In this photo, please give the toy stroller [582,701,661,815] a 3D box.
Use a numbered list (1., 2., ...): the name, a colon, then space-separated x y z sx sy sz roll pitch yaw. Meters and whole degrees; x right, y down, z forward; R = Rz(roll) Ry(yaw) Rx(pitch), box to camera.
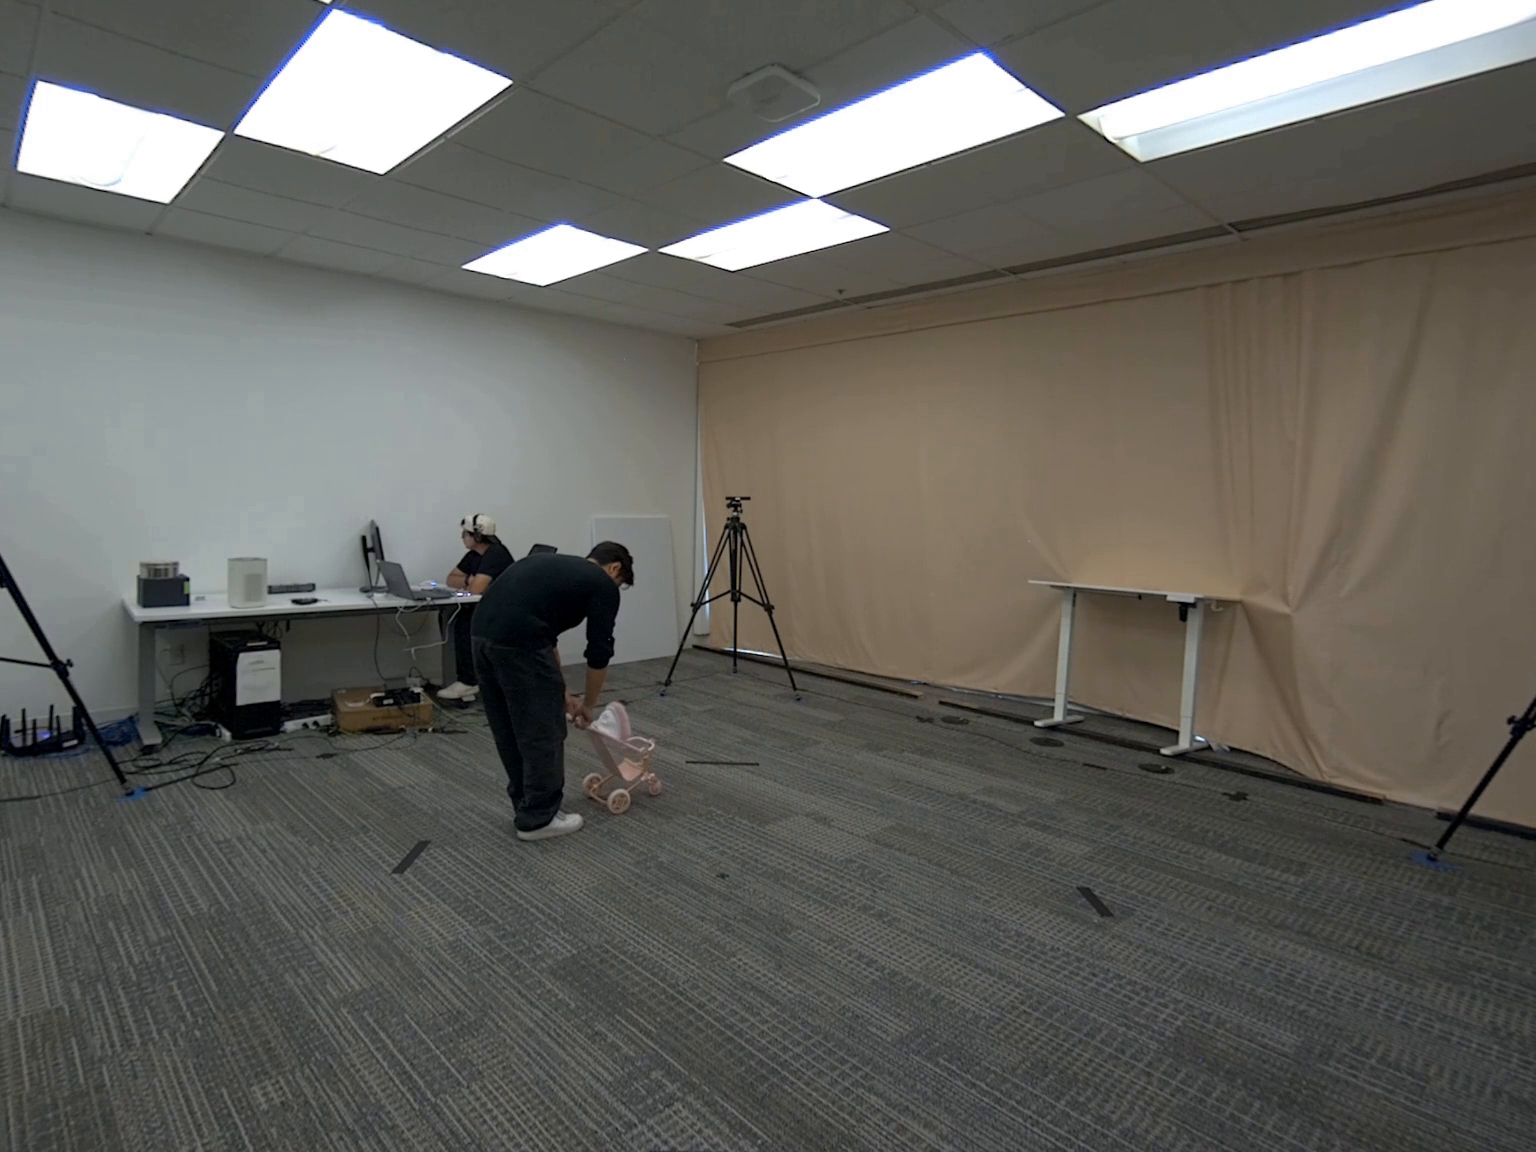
1. toy stroller: -0.686 0.810 3.816 0.337 0.529 0.288 -20 14 -30
